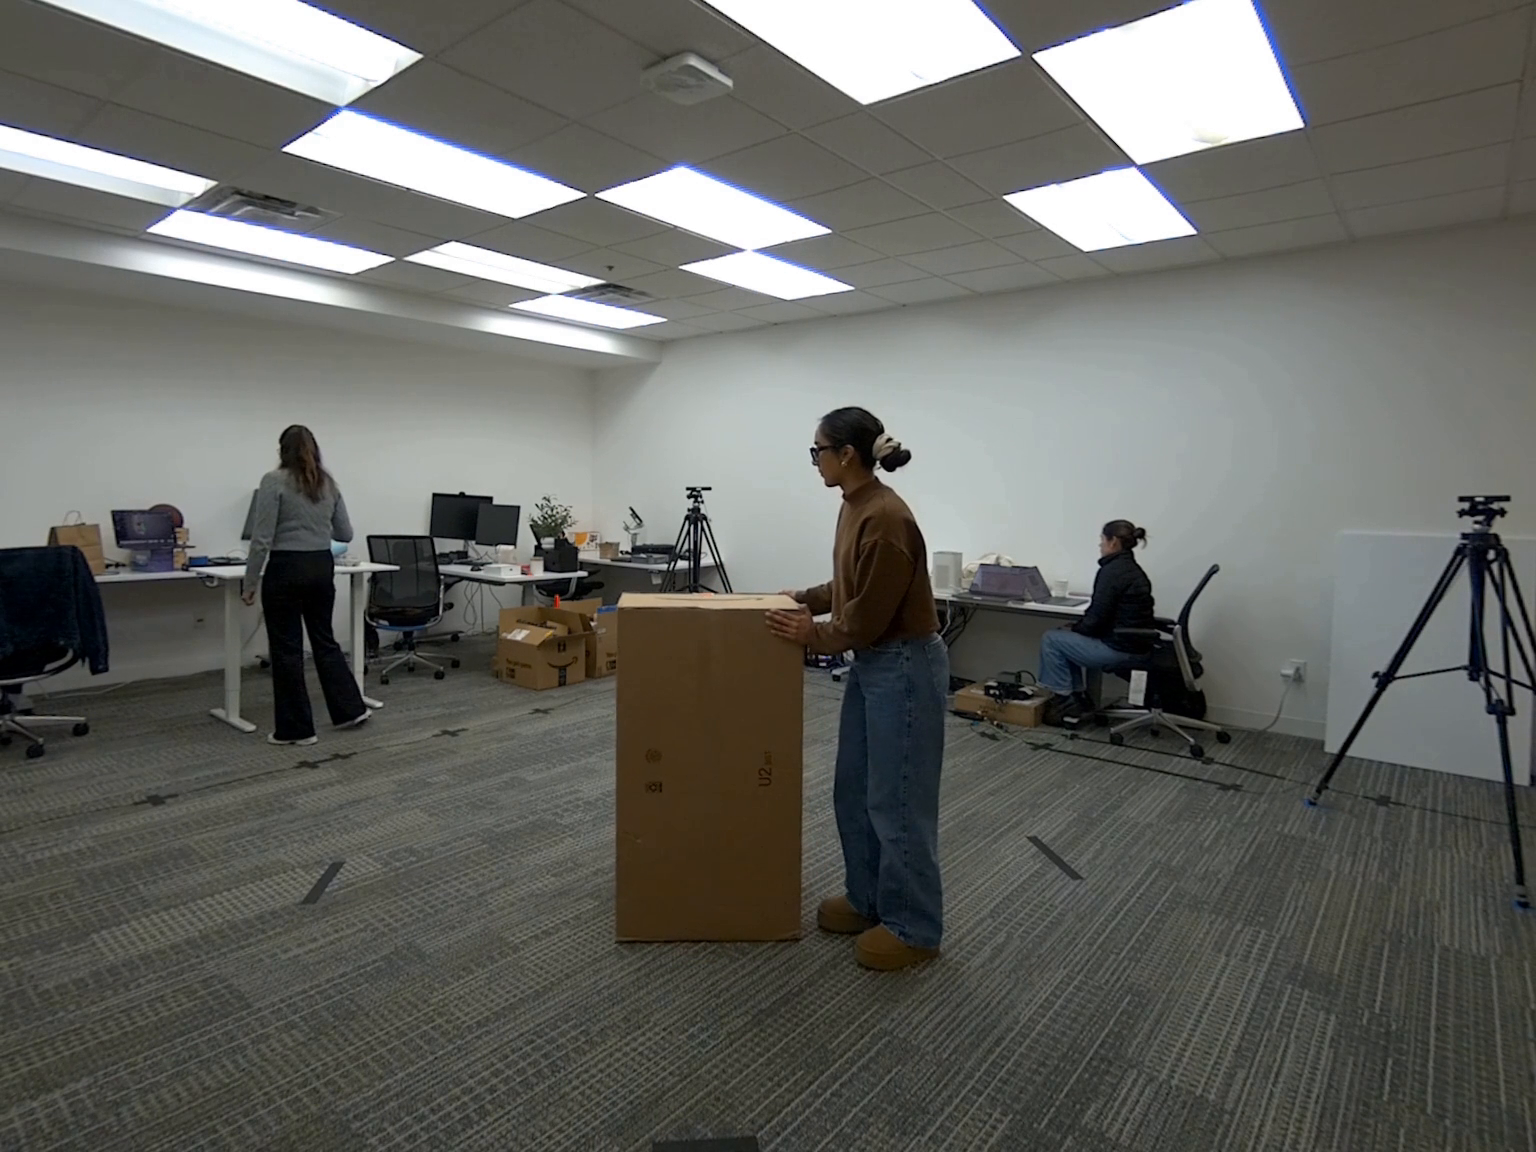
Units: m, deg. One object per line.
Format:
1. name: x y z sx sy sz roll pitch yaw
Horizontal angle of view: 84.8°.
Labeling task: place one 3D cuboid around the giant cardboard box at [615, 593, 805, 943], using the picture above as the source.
1. giant cardboard box: -0.210 0.586 2.793 0.576 1.024 0.428 1 2 -4
